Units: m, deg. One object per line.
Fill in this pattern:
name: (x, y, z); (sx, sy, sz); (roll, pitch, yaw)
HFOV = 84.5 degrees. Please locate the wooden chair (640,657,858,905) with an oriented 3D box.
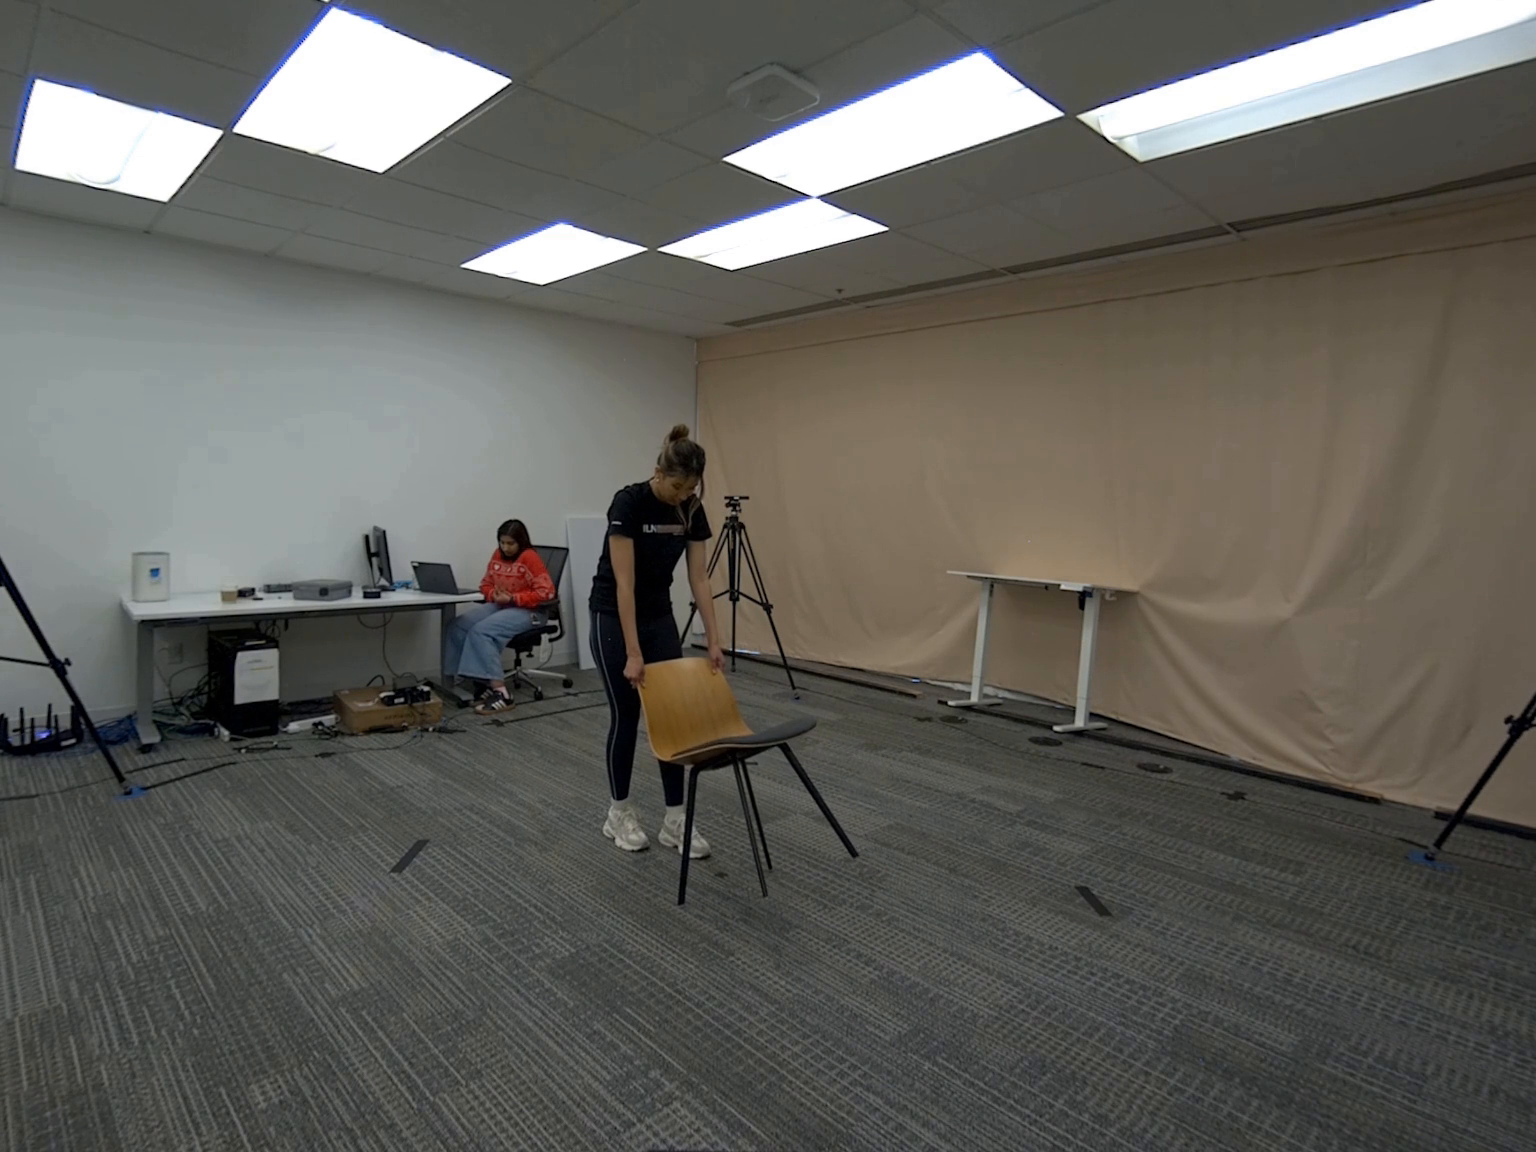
wooden chair: (-0.105, 0.633, 2.942); (0.467, 0.892, 0.527); (-2, -23, -43)
